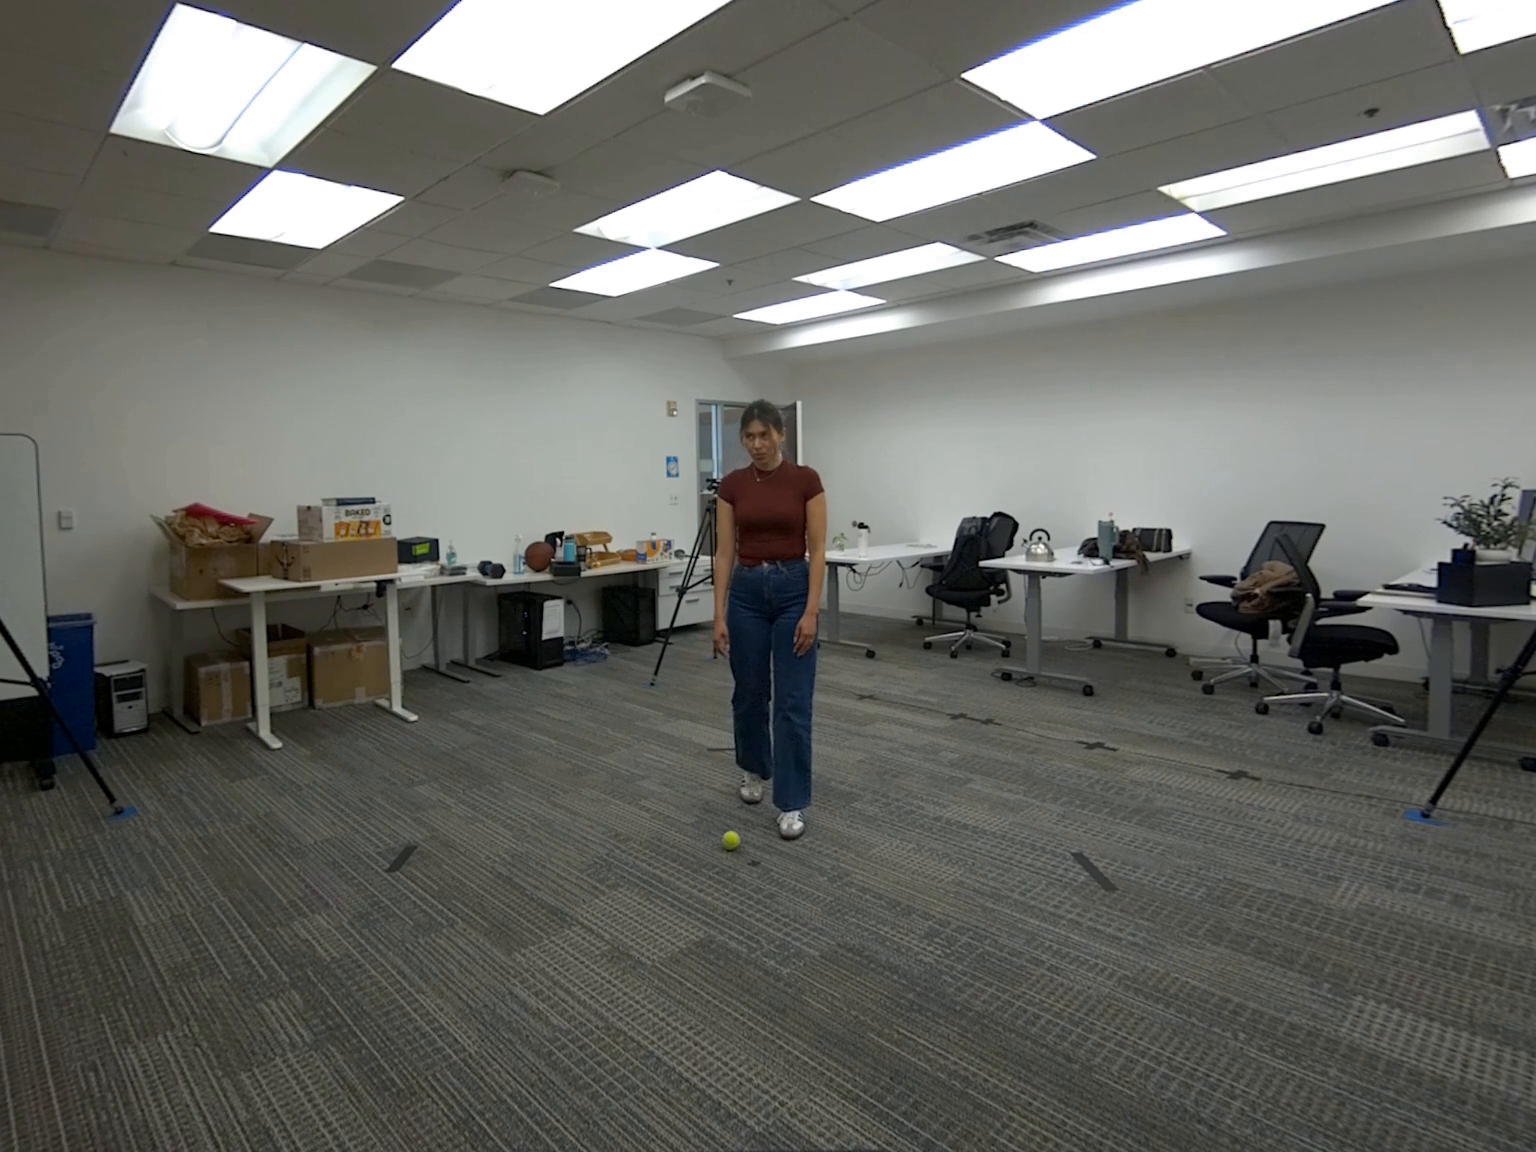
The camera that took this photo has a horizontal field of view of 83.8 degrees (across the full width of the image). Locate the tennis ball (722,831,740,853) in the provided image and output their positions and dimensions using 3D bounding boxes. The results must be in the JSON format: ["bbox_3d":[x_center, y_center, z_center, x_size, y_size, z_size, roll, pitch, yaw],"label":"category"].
[{"bbox_3d":[-0.141,0.983,3.208,0.066,0.066,0.067,-1,5,-2],"label":"tennis ball"}]
